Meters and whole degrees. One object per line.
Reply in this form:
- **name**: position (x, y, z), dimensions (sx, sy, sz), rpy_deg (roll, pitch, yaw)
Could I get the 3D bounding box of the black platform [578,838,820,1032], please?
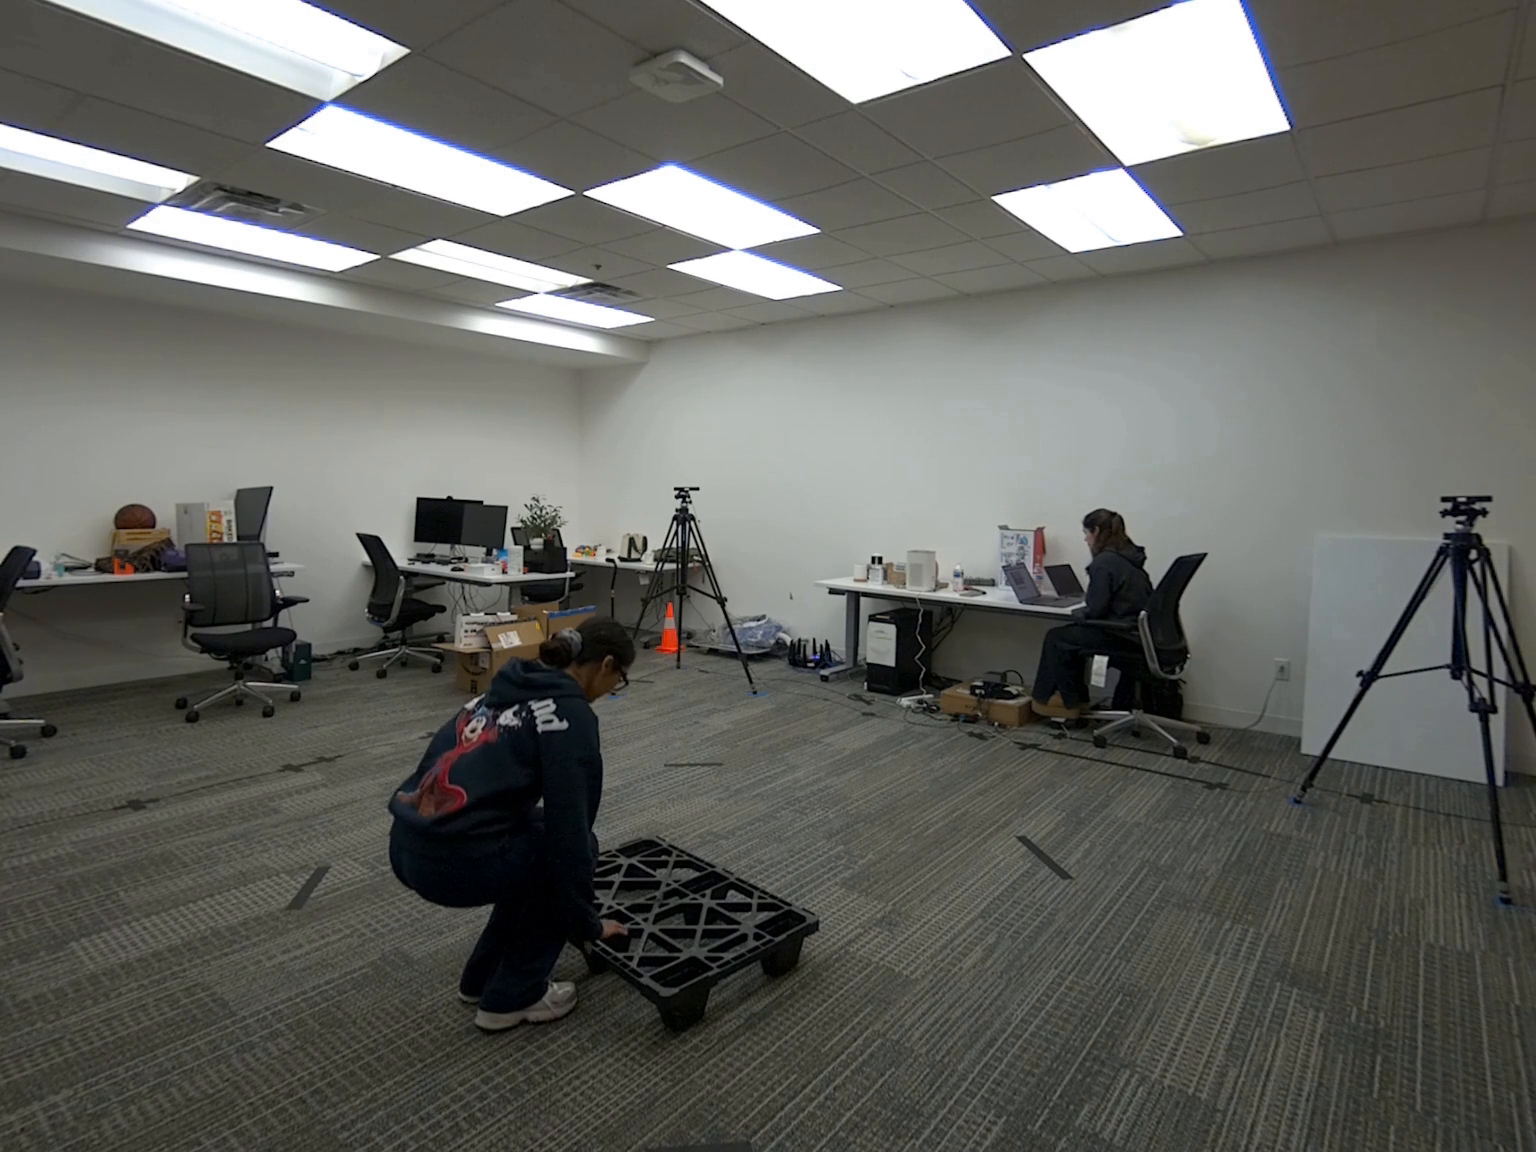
- **black platform**: position (-0.343, 1.048, 2.593), dimensions (0.587, 0.143, 0.833), rpy_deg (-4, 8, -44)
